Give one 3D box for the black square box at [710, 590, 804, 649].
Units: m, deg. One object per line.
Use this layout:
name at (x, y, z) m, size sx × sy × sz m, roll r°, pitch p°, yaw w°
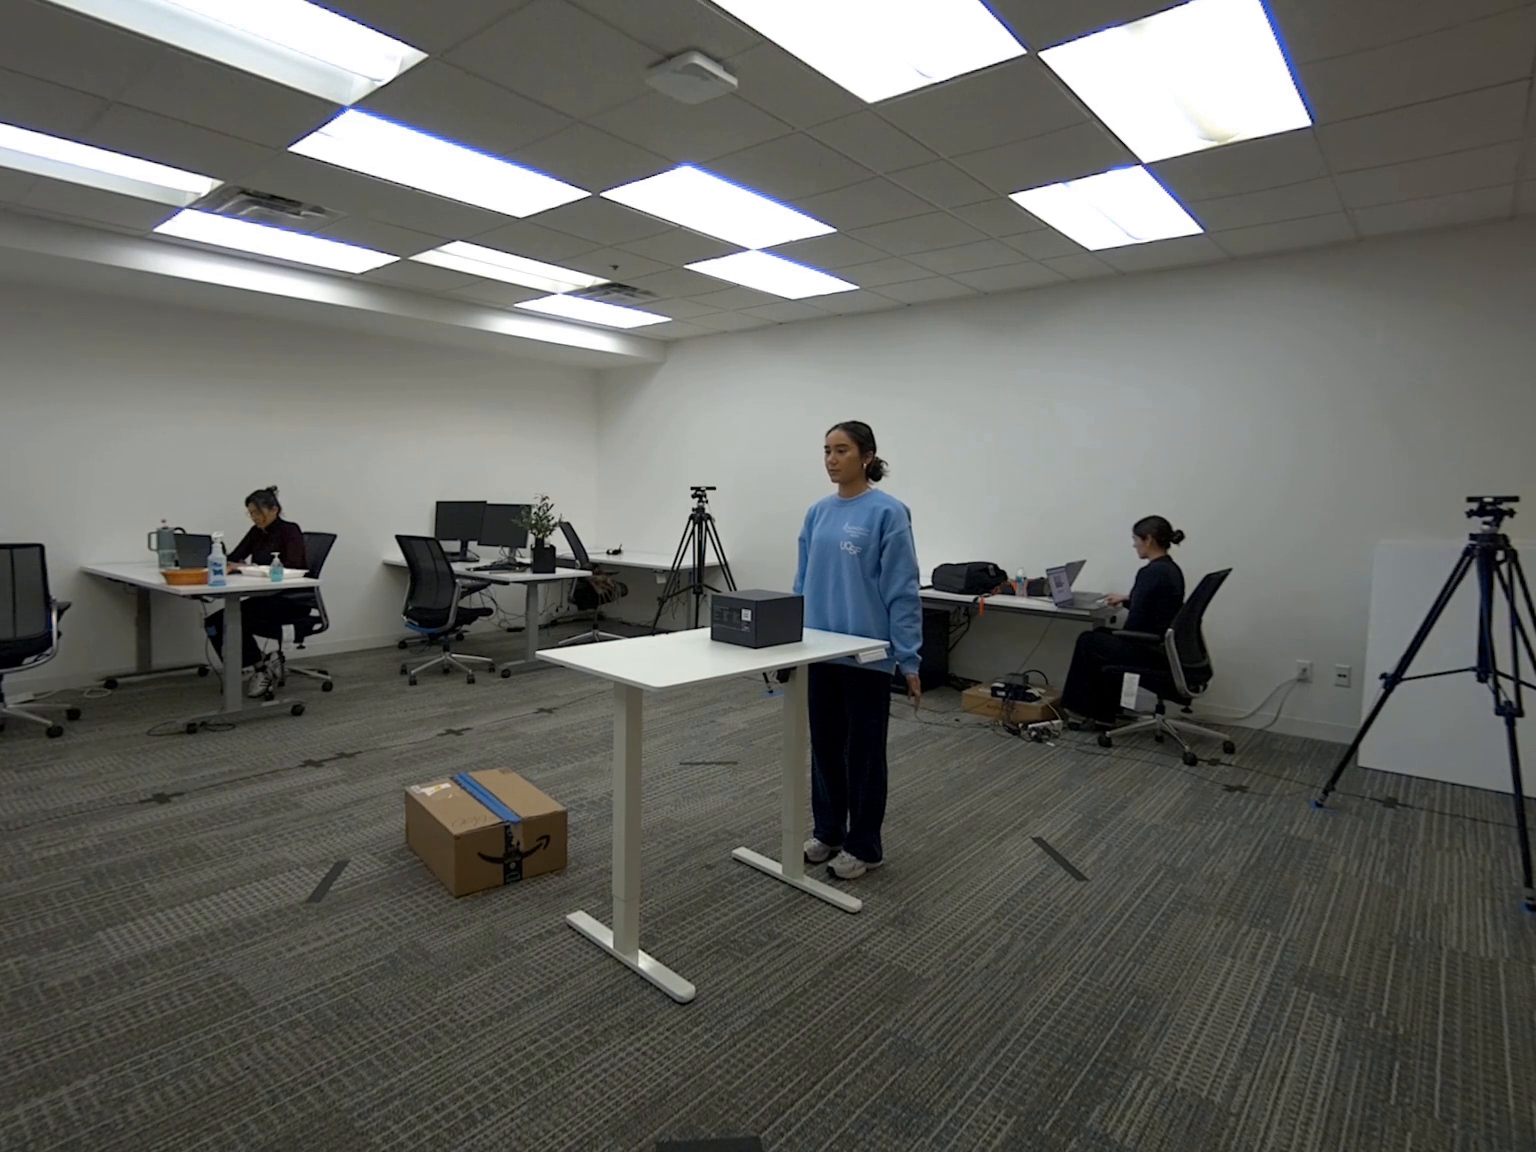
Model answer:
black square box at (-0.043, 0.136, 2.827) m, size 0.221 × 0.155 × 0.224 m, roll -4°, pitch 6°, yaw -44°
